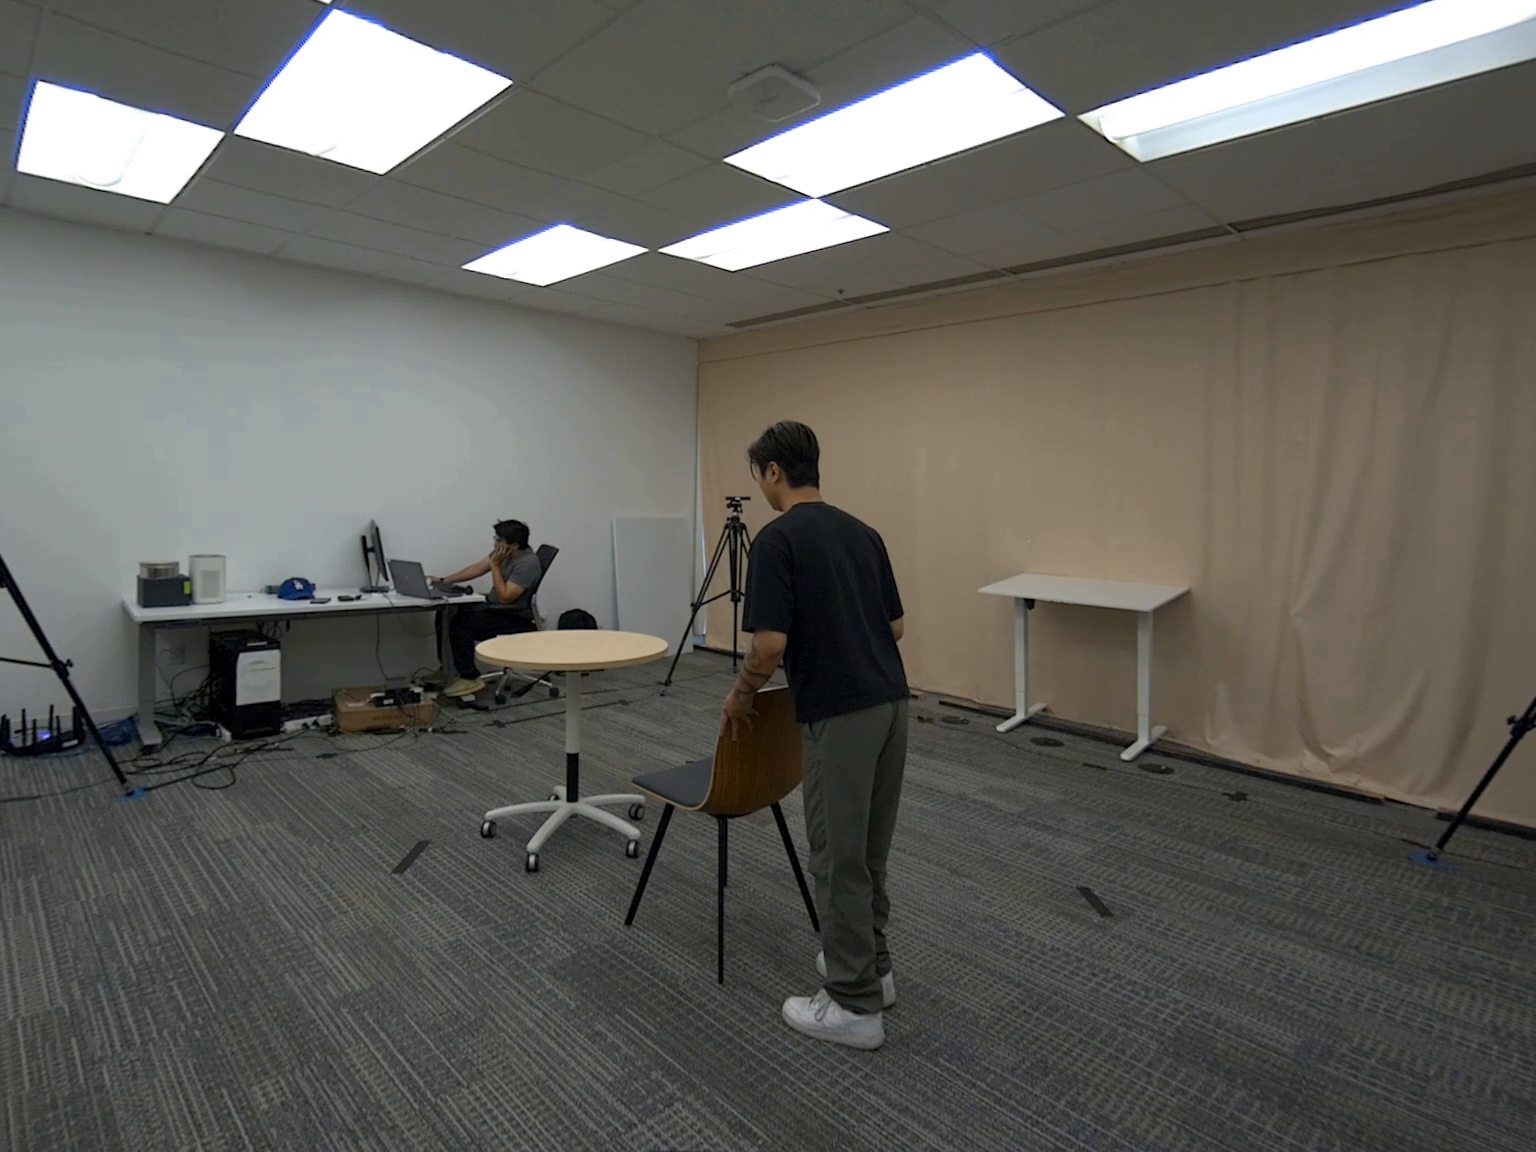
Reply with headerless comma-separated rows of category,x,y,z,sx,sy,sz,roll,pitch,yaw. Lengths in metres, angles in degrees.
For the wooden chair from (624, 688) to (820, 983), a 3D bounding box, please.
wooden chair,-0.148,0.716,2.700,0.537,0.873,0.467,11,9,44
